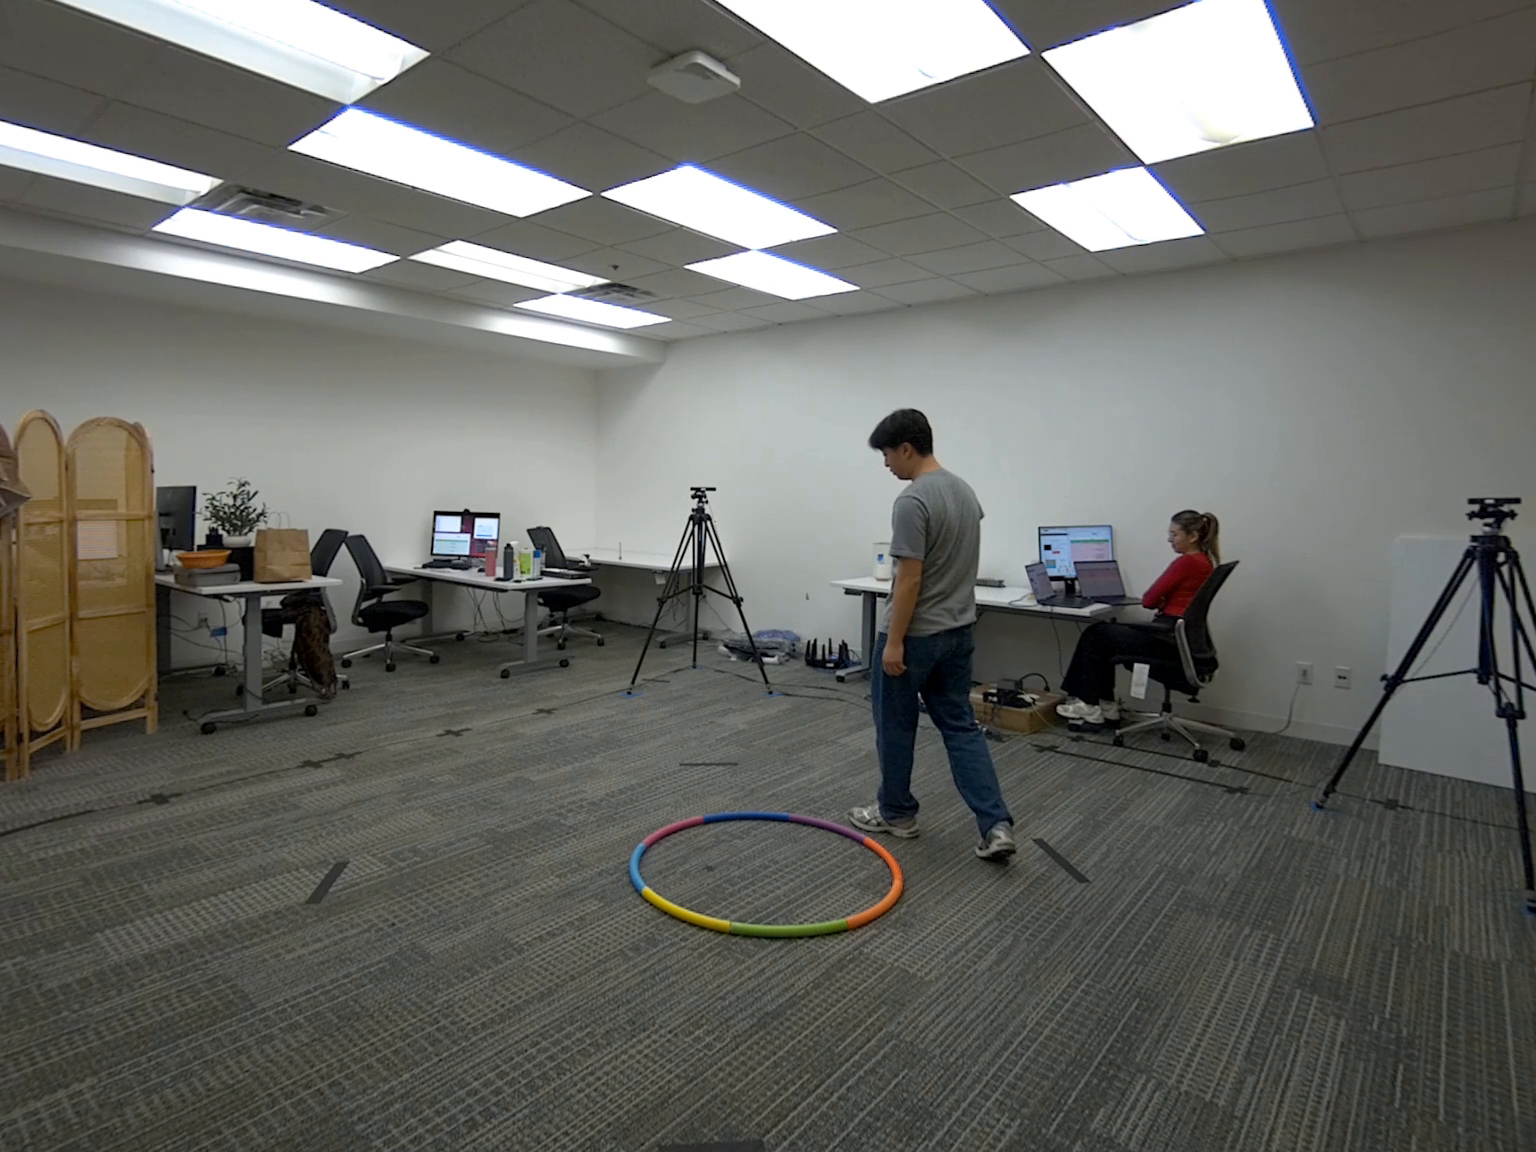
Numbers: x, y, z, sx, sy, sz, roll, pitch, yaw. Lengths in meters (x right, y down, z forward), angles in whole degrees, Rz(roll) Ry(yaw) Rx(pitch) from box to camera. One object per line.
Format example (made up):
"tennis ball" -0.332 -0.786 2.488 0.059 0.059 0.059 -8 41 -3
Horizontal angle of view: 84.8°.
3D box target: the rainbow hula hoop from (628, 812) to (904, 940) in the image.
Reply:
"rainbow hula hoop" -0.020 1.040 3.106 0.978 0.035 0.984 1 5 -2
